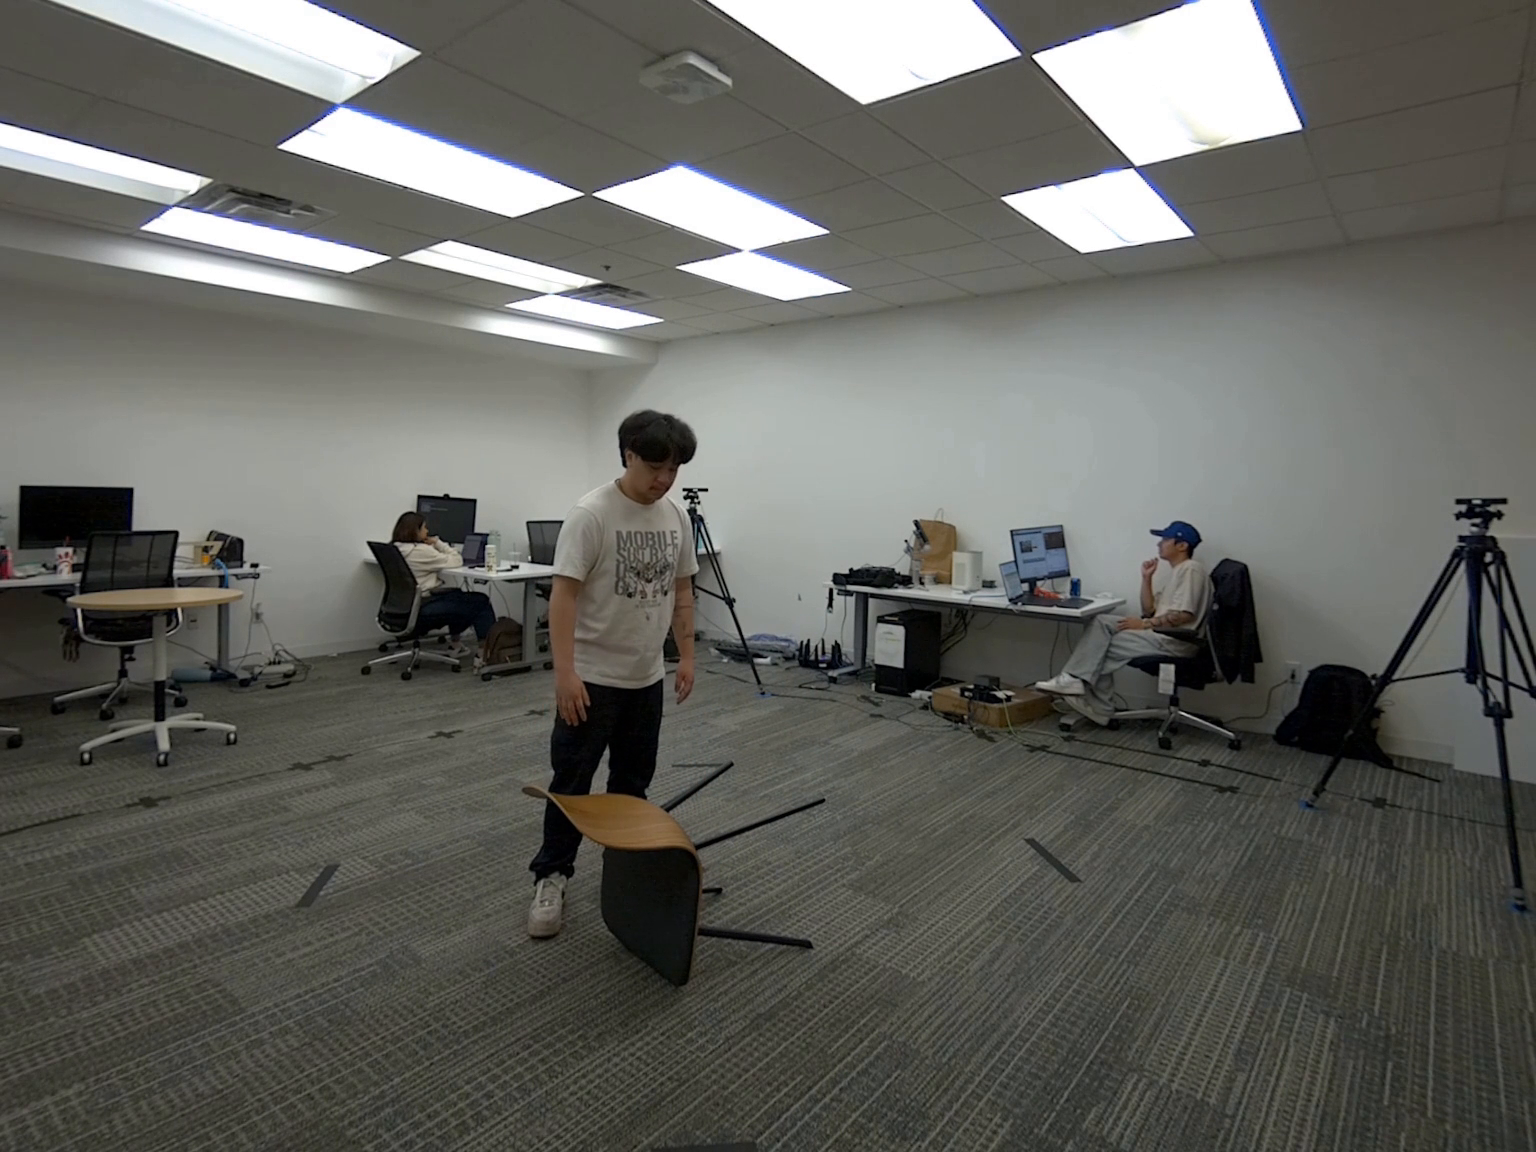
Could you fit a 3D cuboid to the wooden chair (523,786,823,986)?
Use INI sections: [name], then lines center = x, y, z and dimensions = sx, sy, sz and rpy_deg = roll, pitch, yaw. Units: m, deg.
[wooden chair]
center = -0.317, 0.873, 2.493
dimensions = 0.846, 0.524, 0.495
rpy_deg = 8, -1, -41
